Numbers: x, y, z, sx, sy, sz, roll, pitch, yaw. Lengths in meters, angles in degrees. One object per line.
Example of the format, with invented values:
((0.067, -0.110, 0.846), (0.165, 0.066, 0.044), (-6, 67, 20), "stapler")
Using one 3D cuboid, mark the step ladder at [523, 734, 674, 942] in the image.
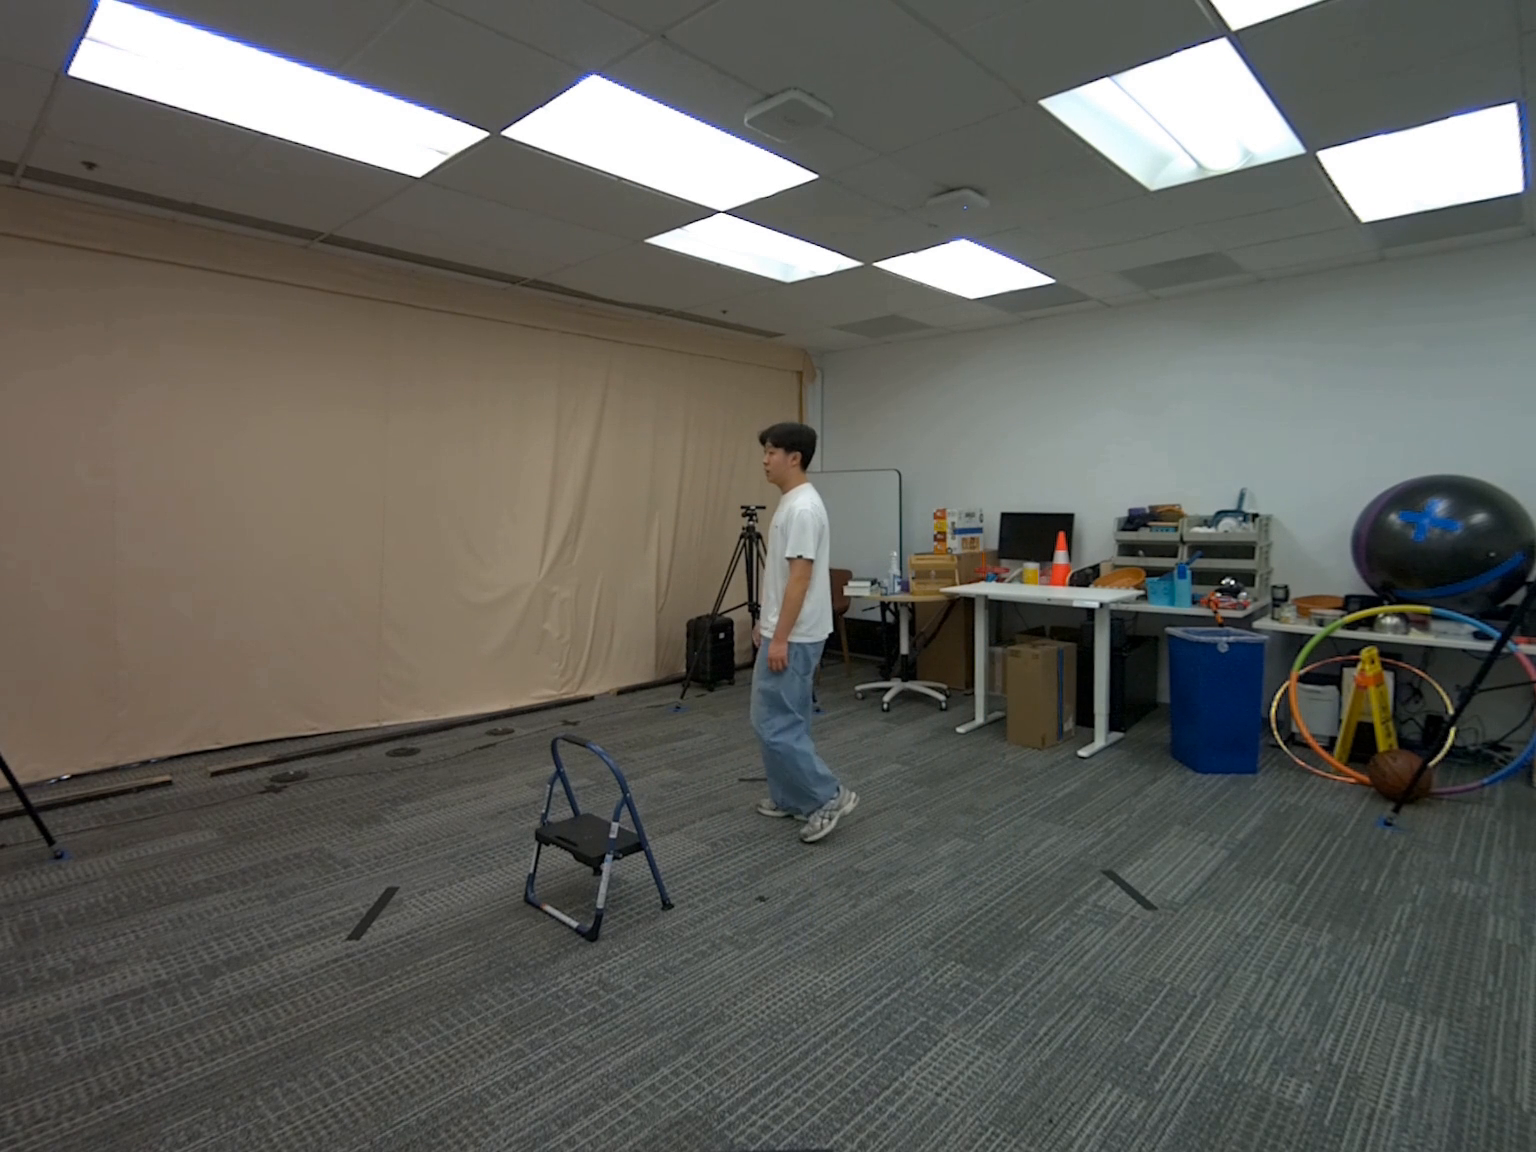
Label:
((-0.600, 0.847, 2.937), (0.445, 0.605, 0.338), (2, 4, 43), "step ladder")
